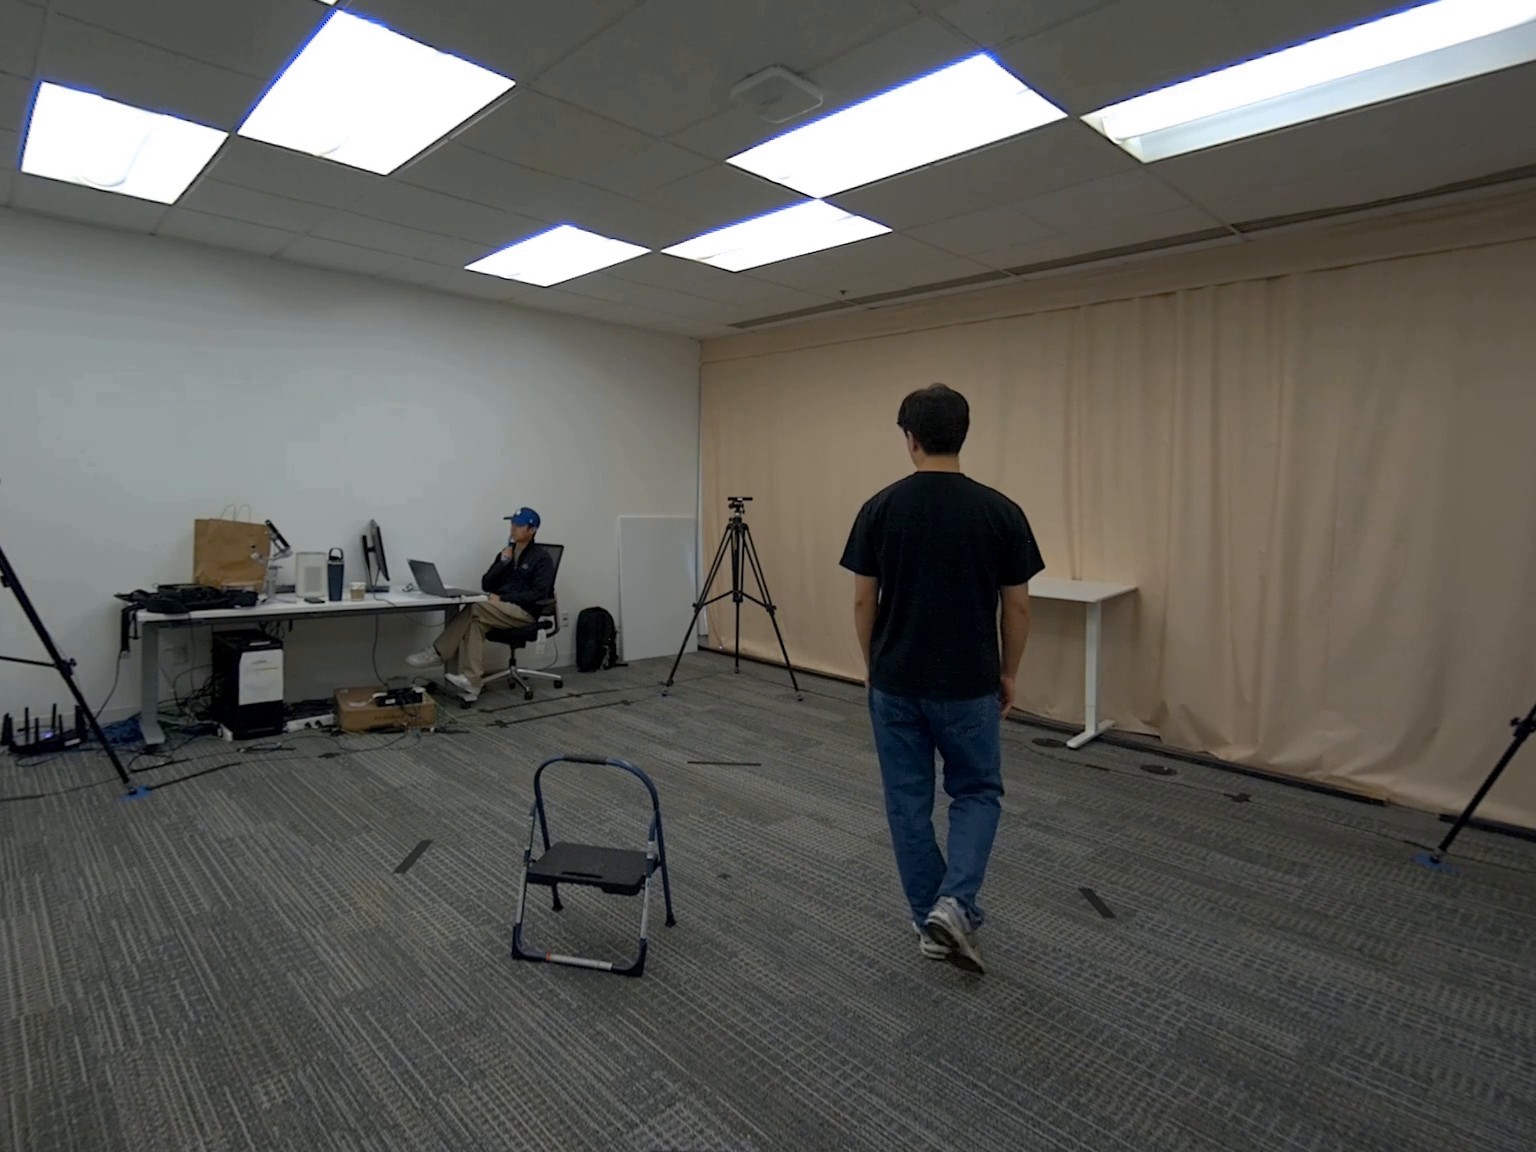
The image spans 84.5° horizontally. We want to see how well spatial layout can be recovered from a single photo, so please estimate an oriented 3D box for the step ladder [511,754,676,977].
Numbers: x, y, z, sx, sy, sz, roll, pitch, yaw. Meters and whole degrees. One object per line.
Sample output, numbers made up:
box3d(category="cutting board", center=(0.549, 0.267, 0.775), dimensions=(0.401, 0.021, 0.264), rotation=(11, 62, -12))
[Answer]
box3d(category="step ladder", center=(-0.535, 0.836, 2.629), dimensions=(0.434, 0.605, 0.347), rotation=(1, 3, 10))
